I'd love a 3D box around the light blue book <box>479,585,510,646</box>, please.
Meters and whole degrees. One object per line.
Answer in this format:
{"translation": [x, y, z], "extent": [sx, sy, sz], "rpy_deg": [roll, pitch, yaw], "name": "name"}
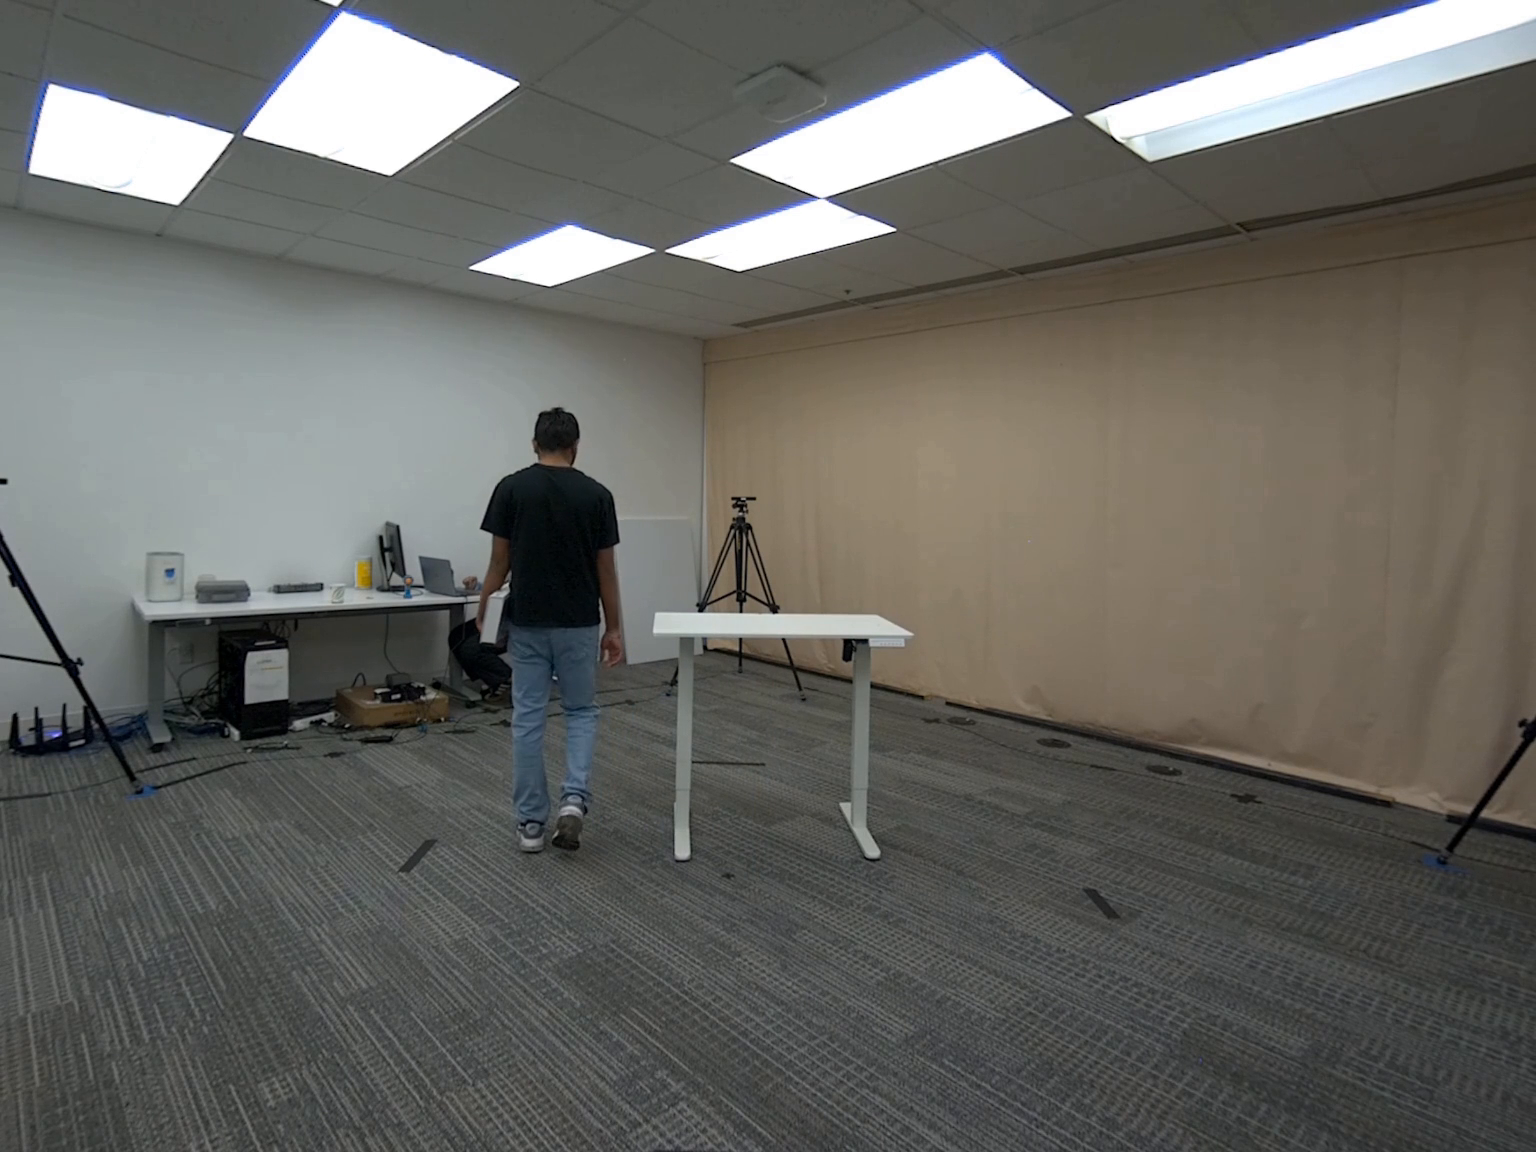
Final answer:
{"translation": [-1.034, 0.140, 3.285], "extent": [0.059, 0.190, 0.263], "rpy_deg": [12, 11, -3], "name": "light blue book"}
